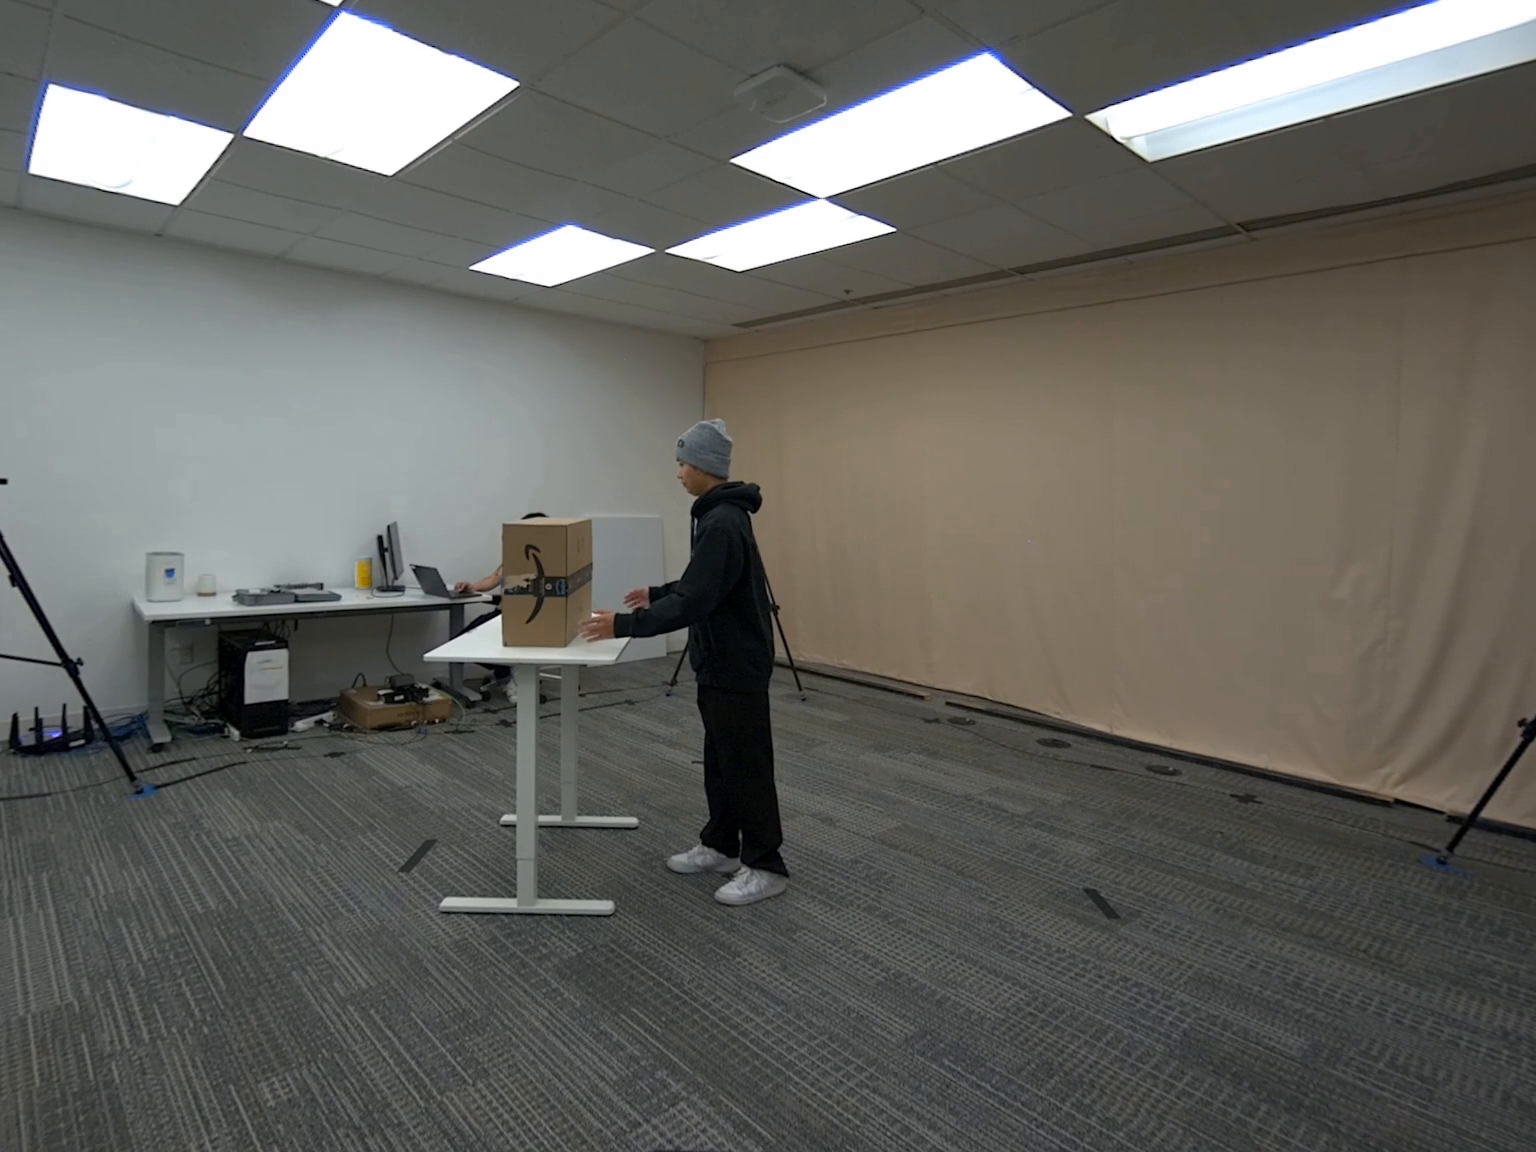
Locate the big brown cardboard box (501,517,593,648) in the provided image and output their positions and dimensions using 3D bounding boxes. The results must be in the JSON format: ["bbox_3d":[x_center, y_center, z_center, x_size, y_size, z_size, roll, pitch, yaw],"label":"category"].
[{"bbox_3d":[-0.795,0.003,3.082,0.233,0.416,0.591,1,5,-3],"label":"big brown cardboard box"}]
